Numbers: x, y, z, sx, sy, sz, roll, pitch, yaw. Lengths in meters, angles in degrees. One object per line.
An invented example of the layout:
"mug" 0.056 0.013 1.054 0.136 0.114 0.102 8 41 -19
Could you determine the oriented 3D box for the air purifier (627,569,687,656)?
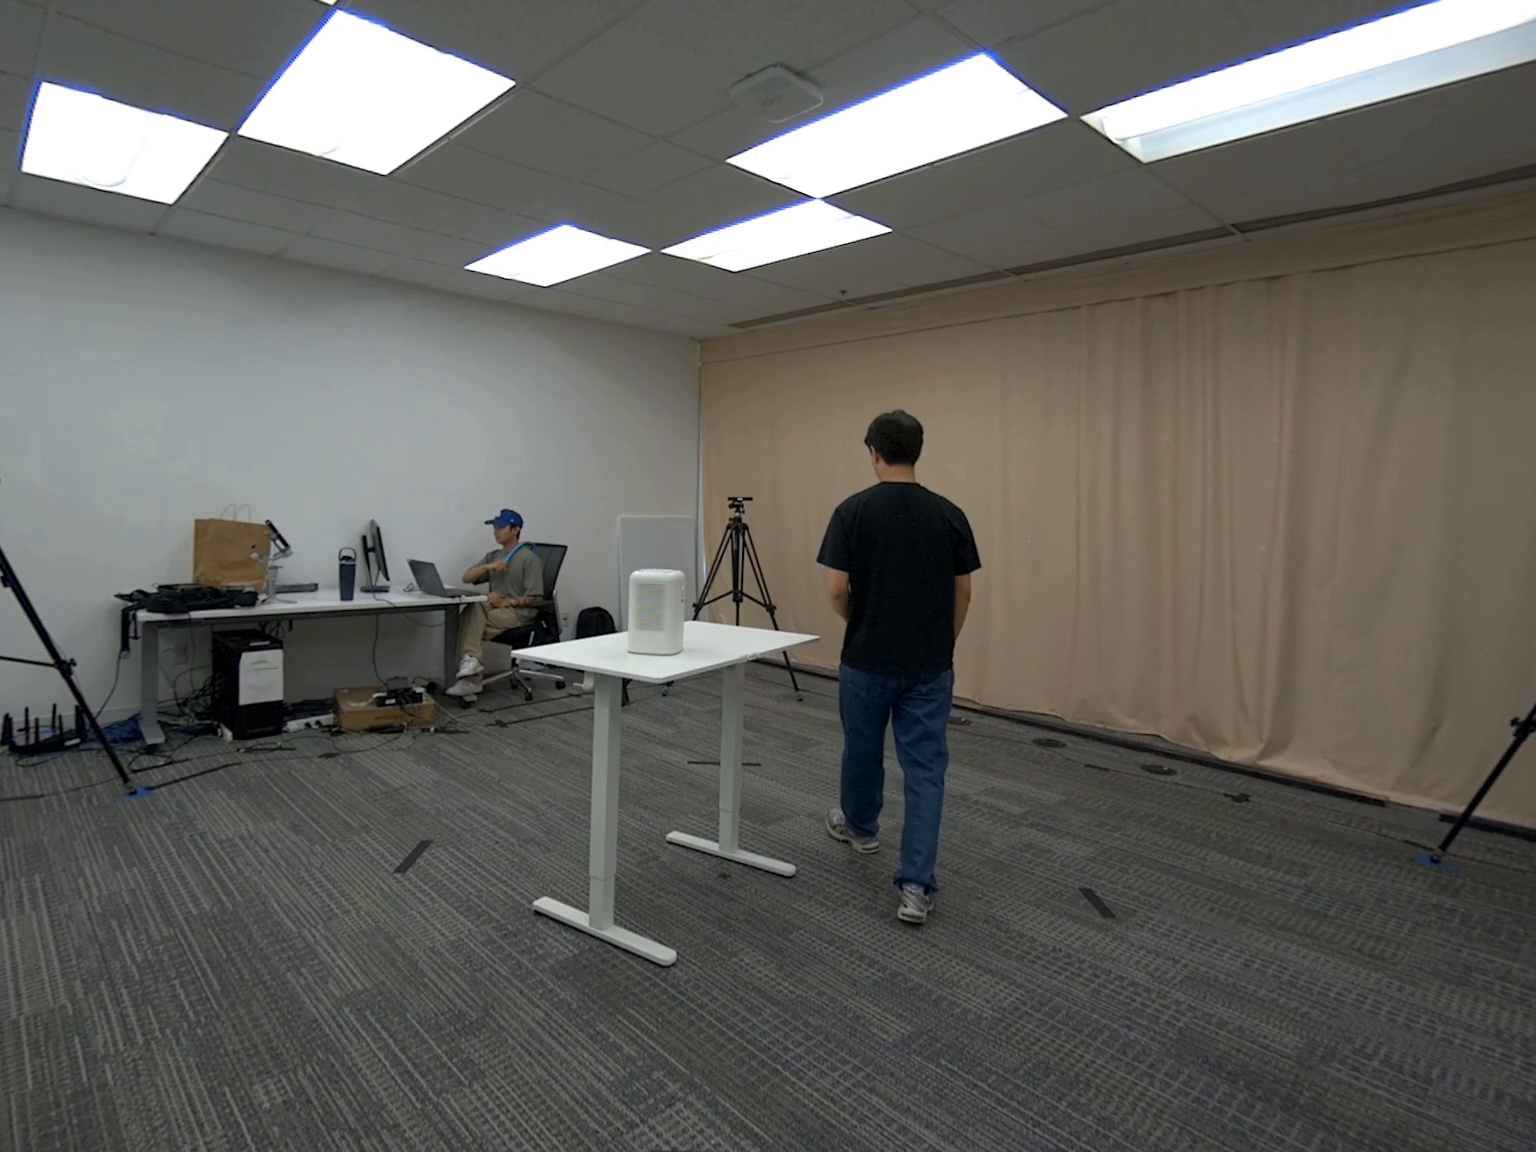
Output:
"air purifier" -0.369 0.116 2.763 0.173 0.265 0.170 4 3 11
